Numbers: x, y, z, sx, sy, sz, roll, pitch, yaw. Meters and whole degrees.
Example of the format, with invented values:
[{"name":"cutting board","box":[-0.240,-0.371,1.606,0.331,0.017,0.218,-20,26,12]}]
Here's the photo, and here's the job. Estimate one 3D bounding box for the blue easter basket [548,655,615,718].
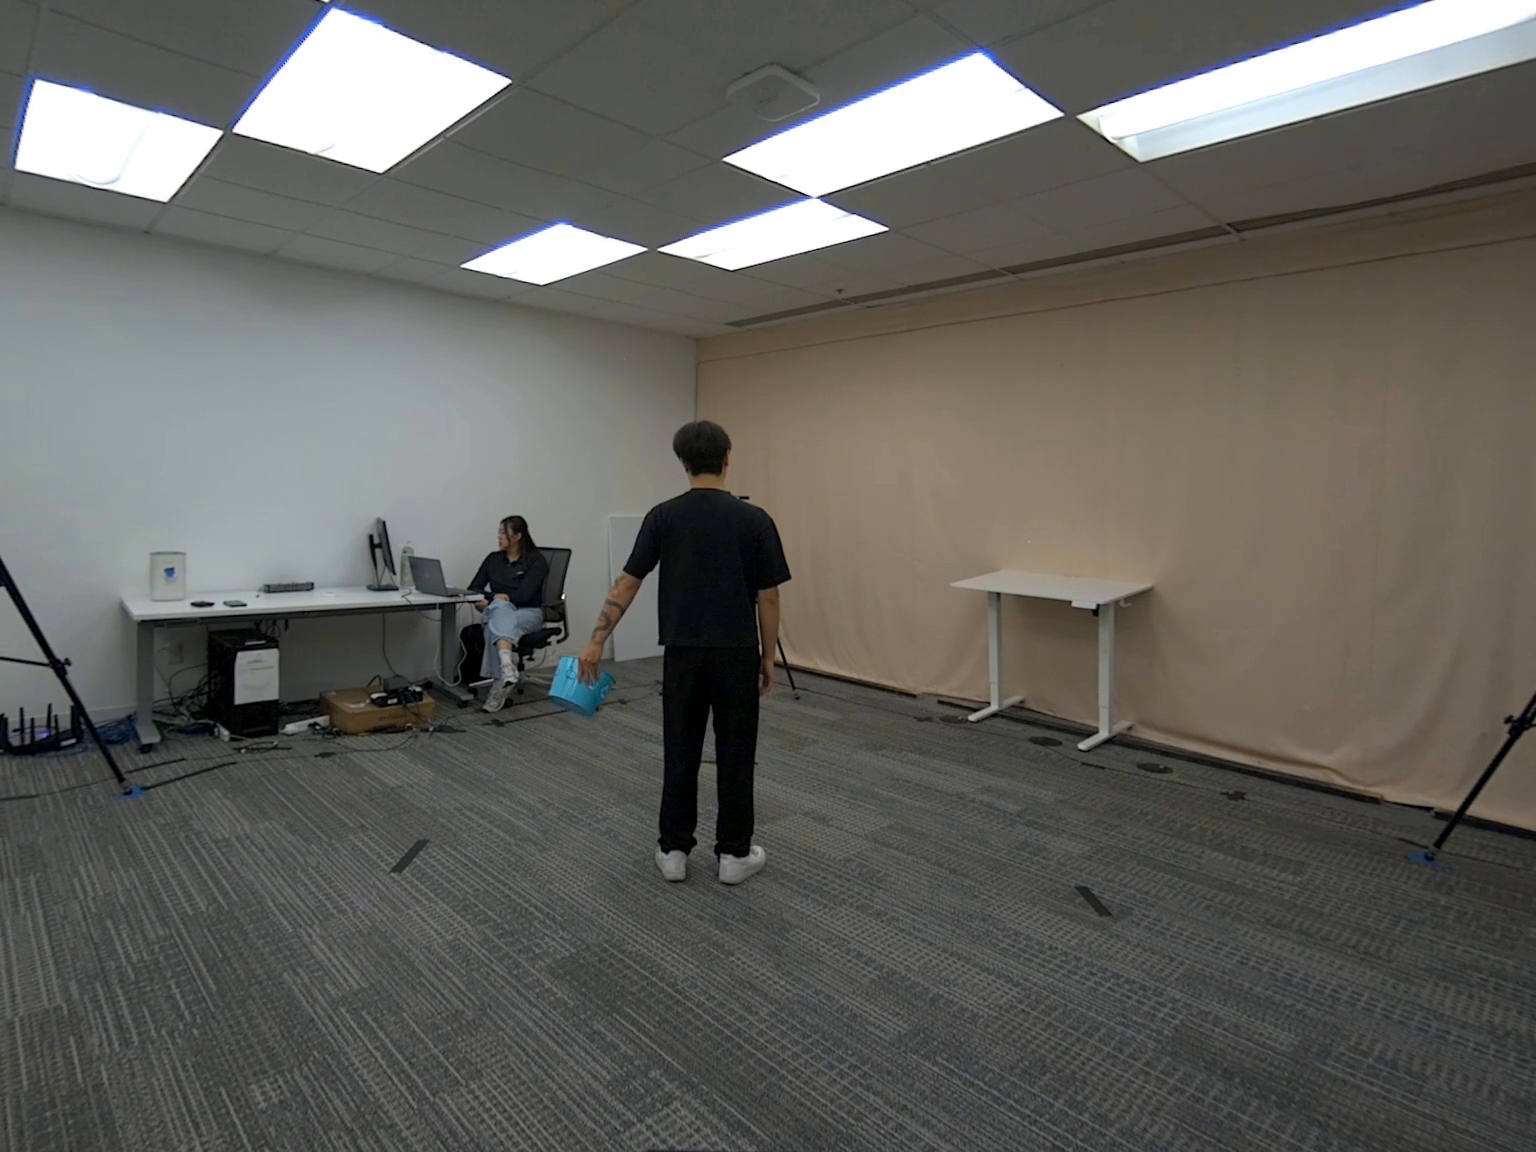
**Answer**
[{"name":"blue easter basket","box":[-0.691,0.413,3.138,0.245,0.157,0.239,19,-24,7]}]
